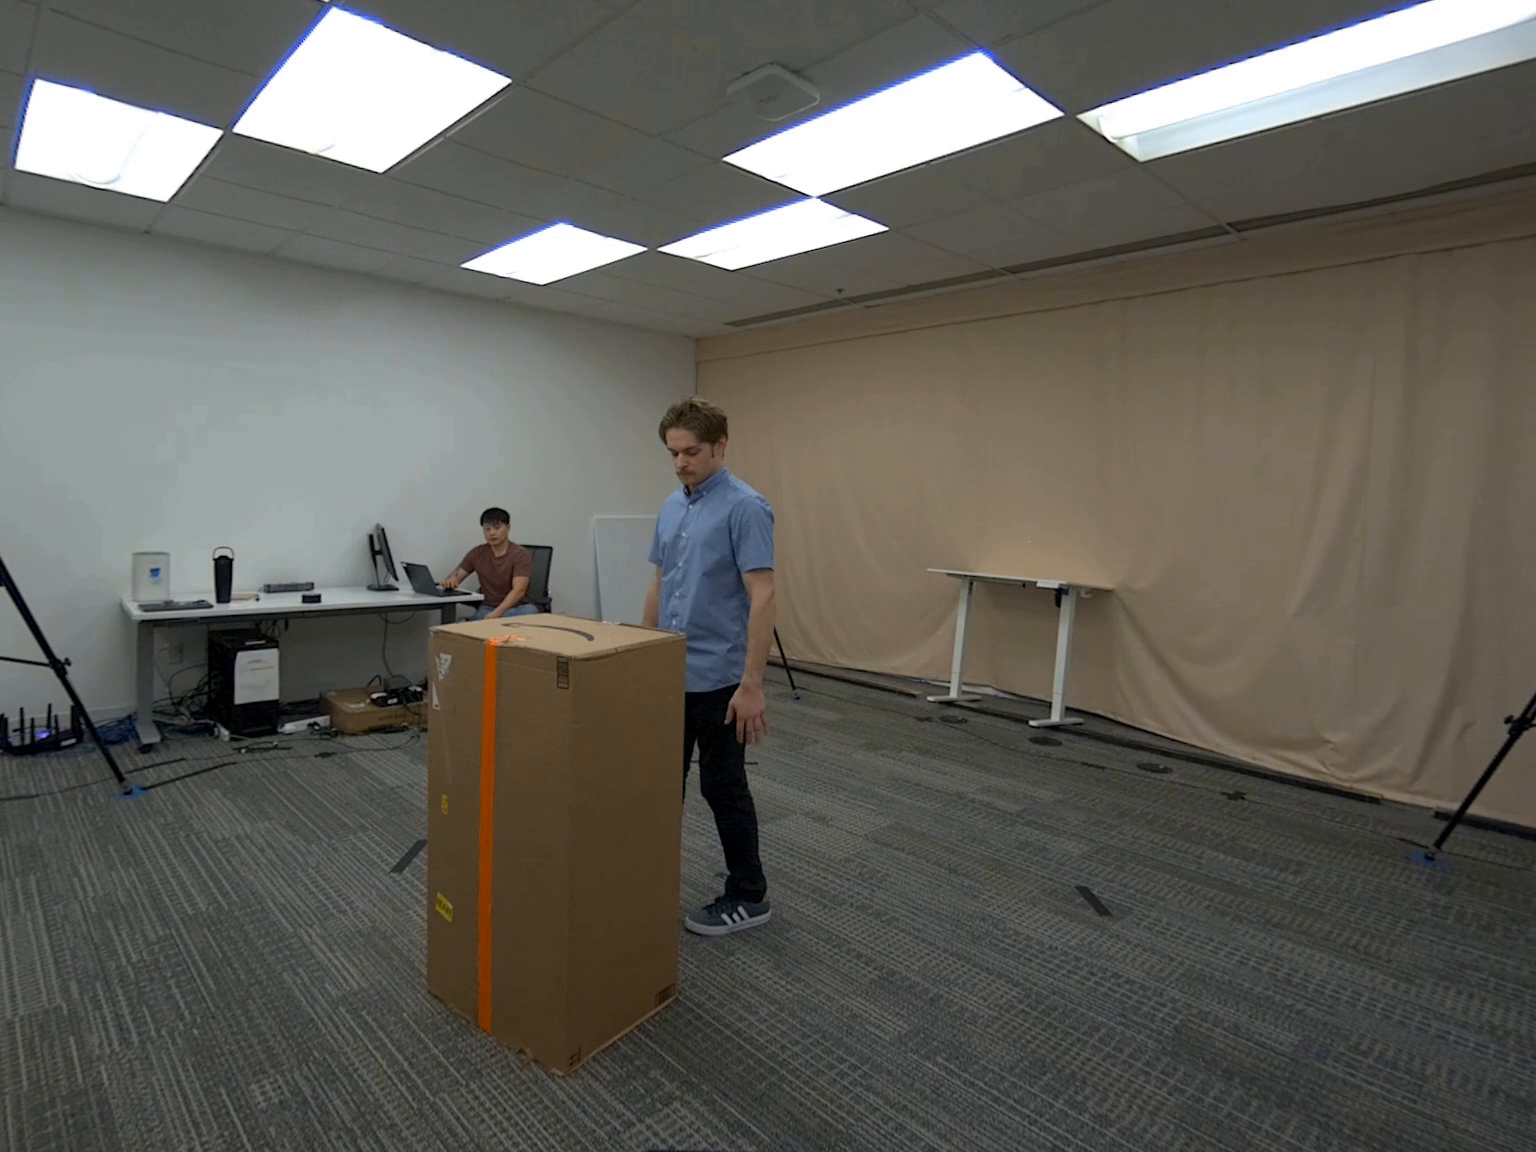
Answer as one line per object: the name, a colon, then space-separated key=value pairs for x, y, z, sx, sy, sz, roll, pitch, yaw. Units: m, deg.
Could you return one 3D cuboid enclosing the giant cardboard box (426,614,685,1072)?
giant cardboard box: x=-0.594 y=0.658 z=2.303 sx=0.592 sy=1.023 sz=0.417 roll=4 pitch=4 yaw=37
